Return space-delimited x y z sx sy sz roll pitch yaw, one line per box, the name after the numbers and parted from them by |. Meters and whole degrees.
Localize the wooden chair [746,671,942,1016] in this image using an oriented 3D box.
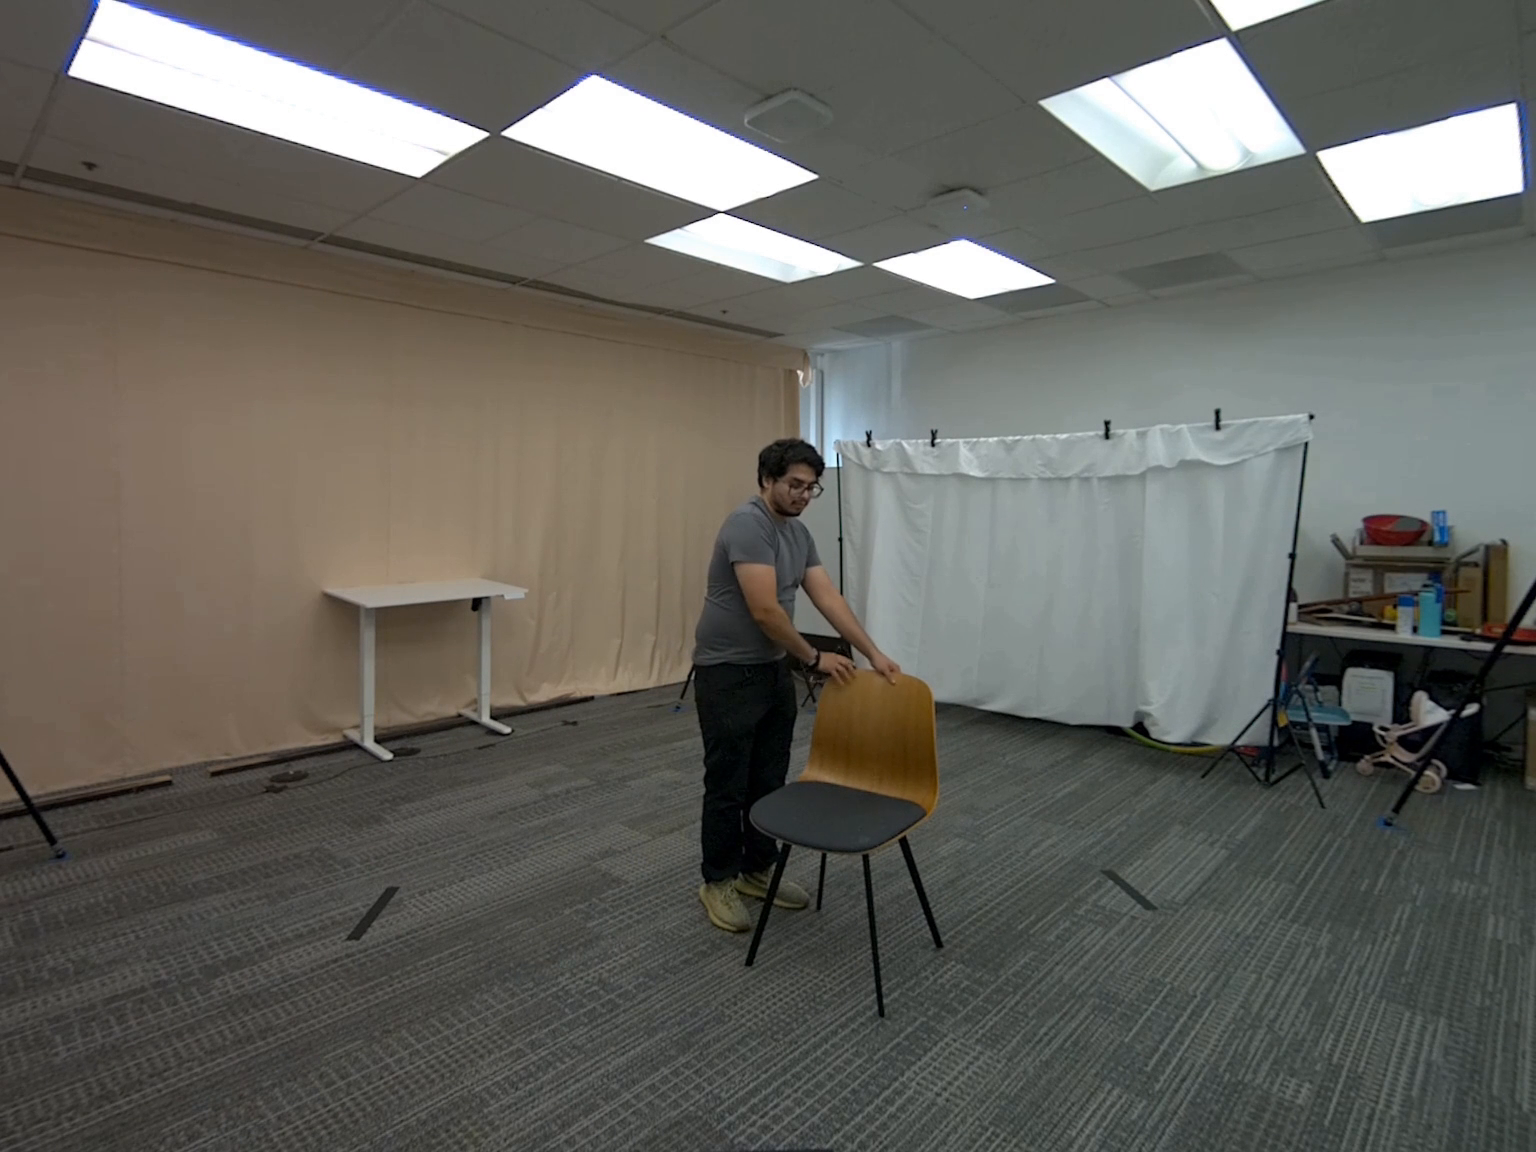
0.245 0.750 2.557 0.493 0.877 0.507 2 0 33 | wooden chair
